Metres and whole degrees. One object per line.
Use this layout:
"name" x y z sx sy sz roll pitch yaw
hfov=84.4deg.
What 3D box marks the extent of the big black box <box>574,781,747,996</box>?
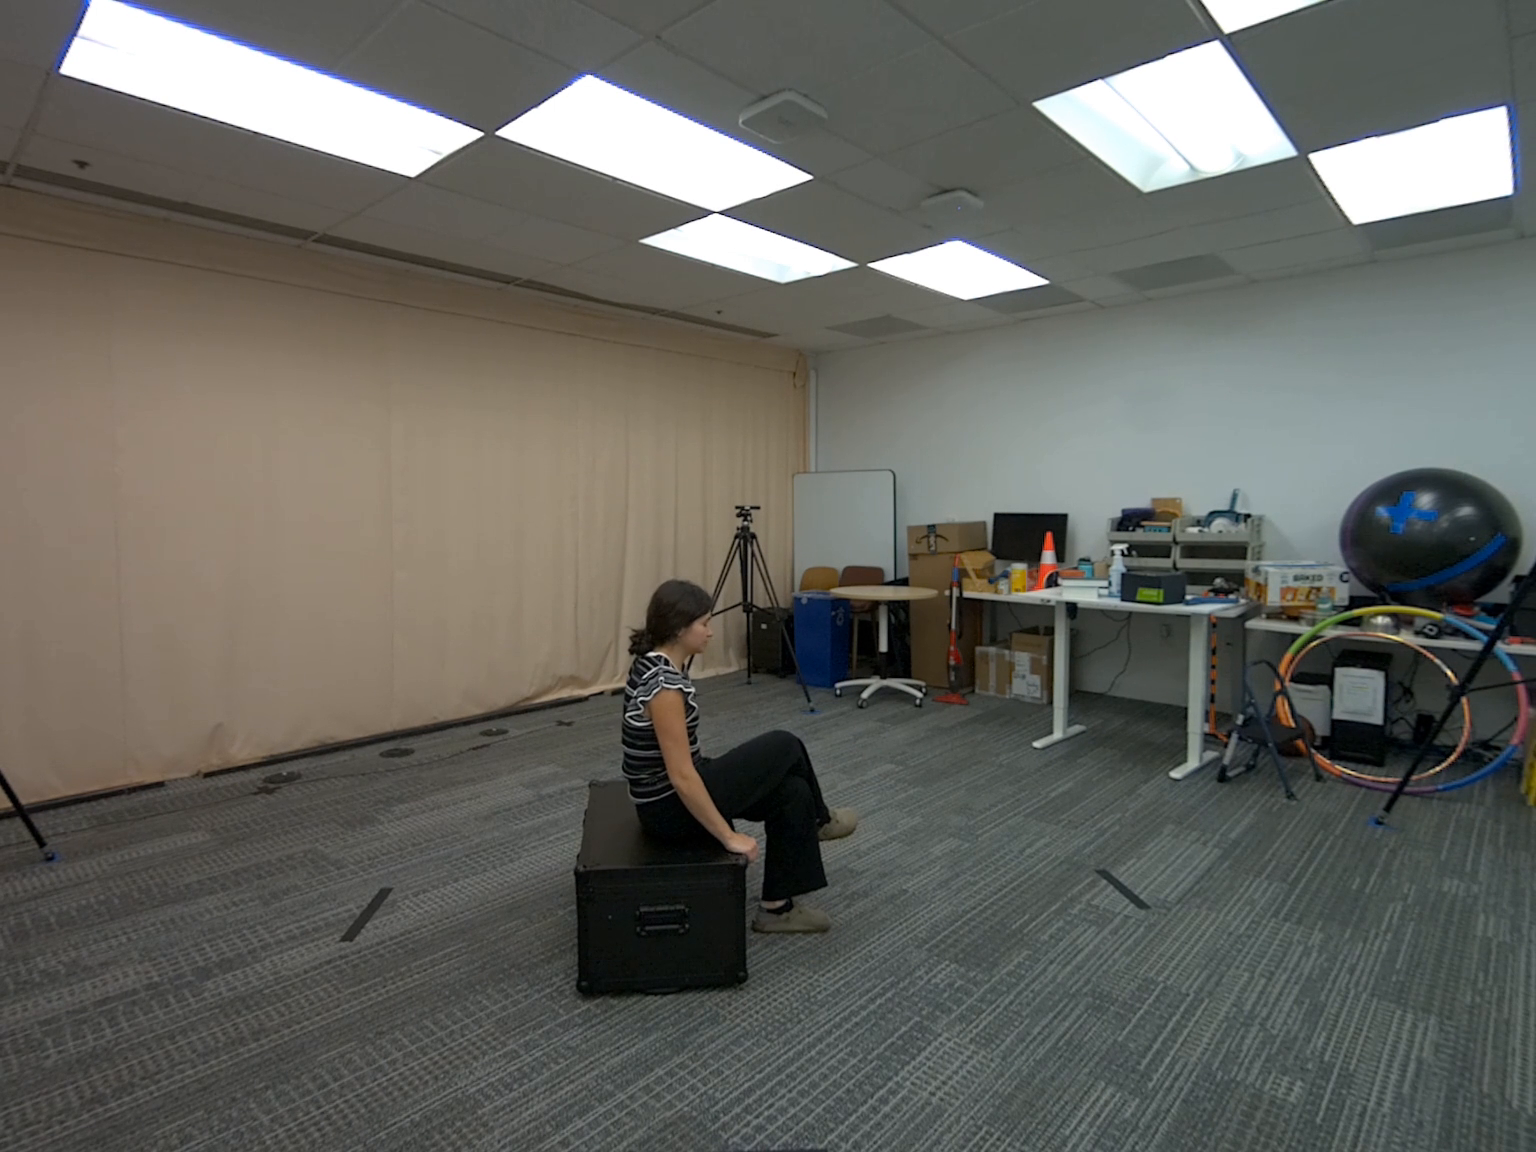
"big black box" -0.360 0.969 2.804 0.517 0.395 0.871 0 5 -9
